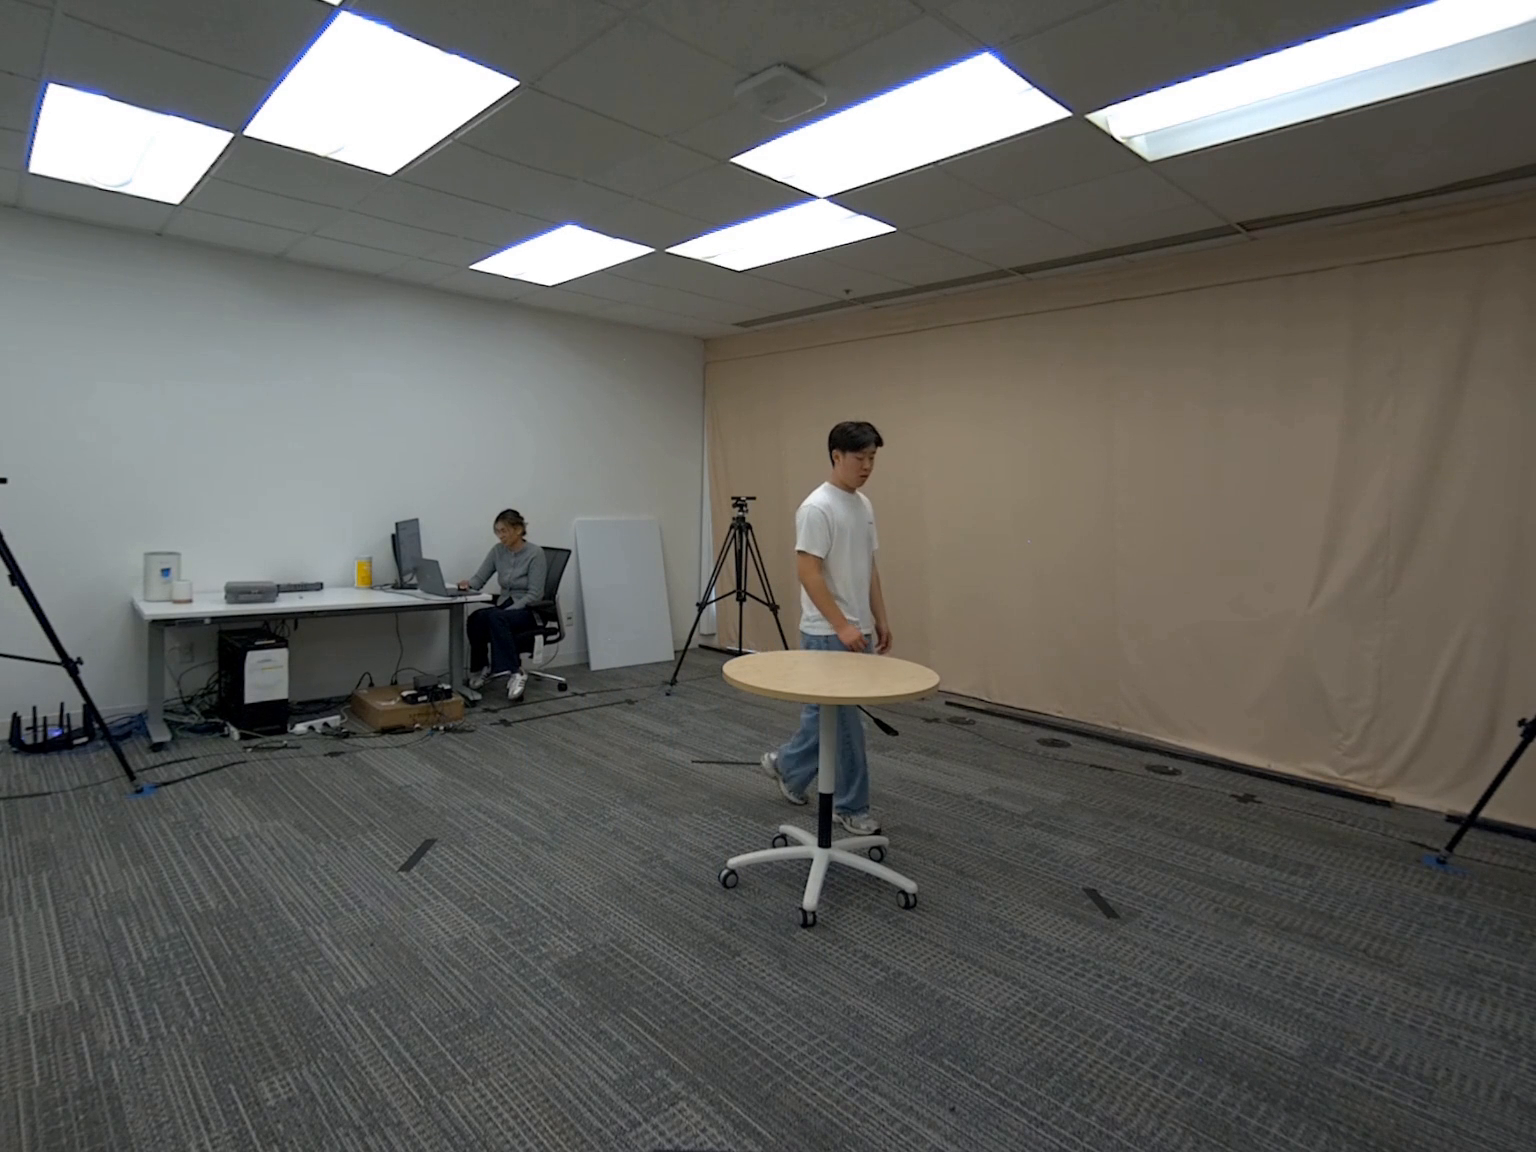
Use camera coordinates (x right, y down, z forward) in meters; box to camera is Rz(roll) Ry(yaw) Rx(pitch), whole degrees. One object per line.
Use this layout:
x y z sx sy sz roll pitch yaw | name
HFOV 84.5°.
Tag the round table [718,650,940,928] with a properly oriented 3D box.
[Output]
0.199 0.733 3.025 0.763 0.792 0.767 1 4 -1 | round table
